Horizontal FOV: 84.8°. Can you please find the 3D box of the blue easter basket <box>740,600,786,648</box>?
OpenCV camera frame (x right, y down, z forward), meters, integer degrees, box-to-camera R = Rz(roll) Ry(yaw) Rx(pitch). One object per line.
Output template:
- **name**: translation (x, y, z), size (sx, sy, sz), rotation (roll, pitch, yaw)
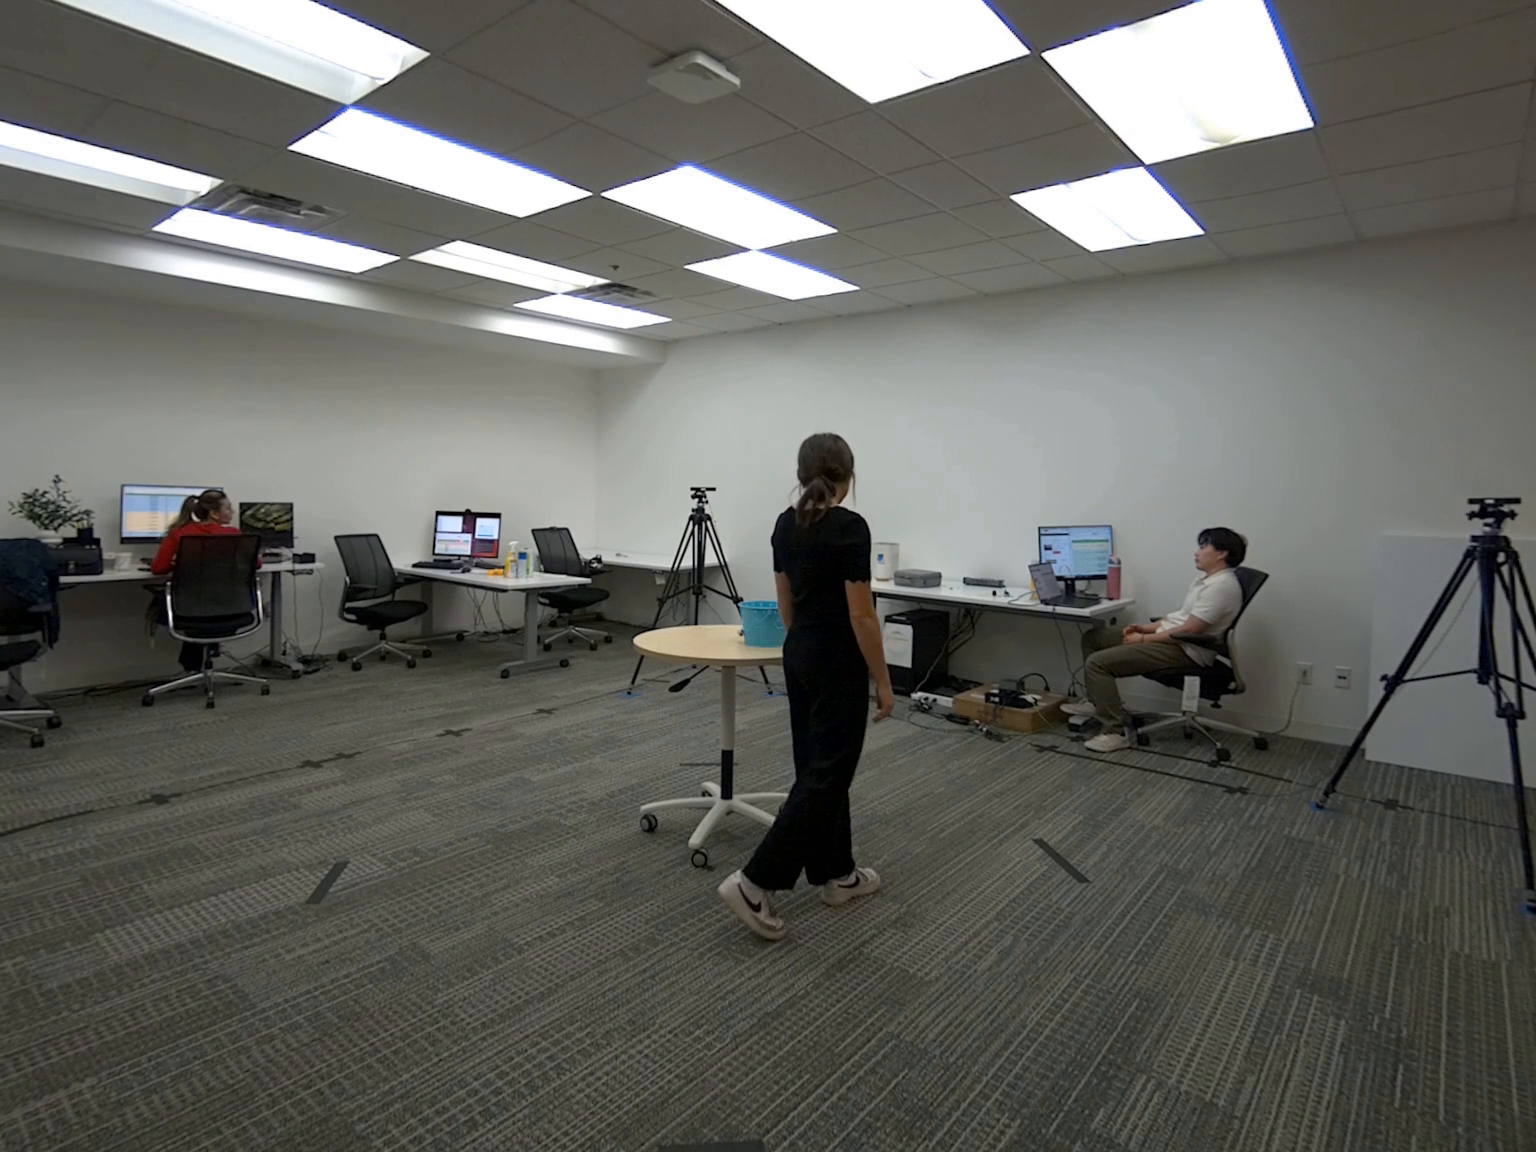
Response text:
- **blue easter basket**: translation (-0.015, 0.187, 3.360), size (0.243, 0.155, 0.245), rotation (1, 6, -2)
